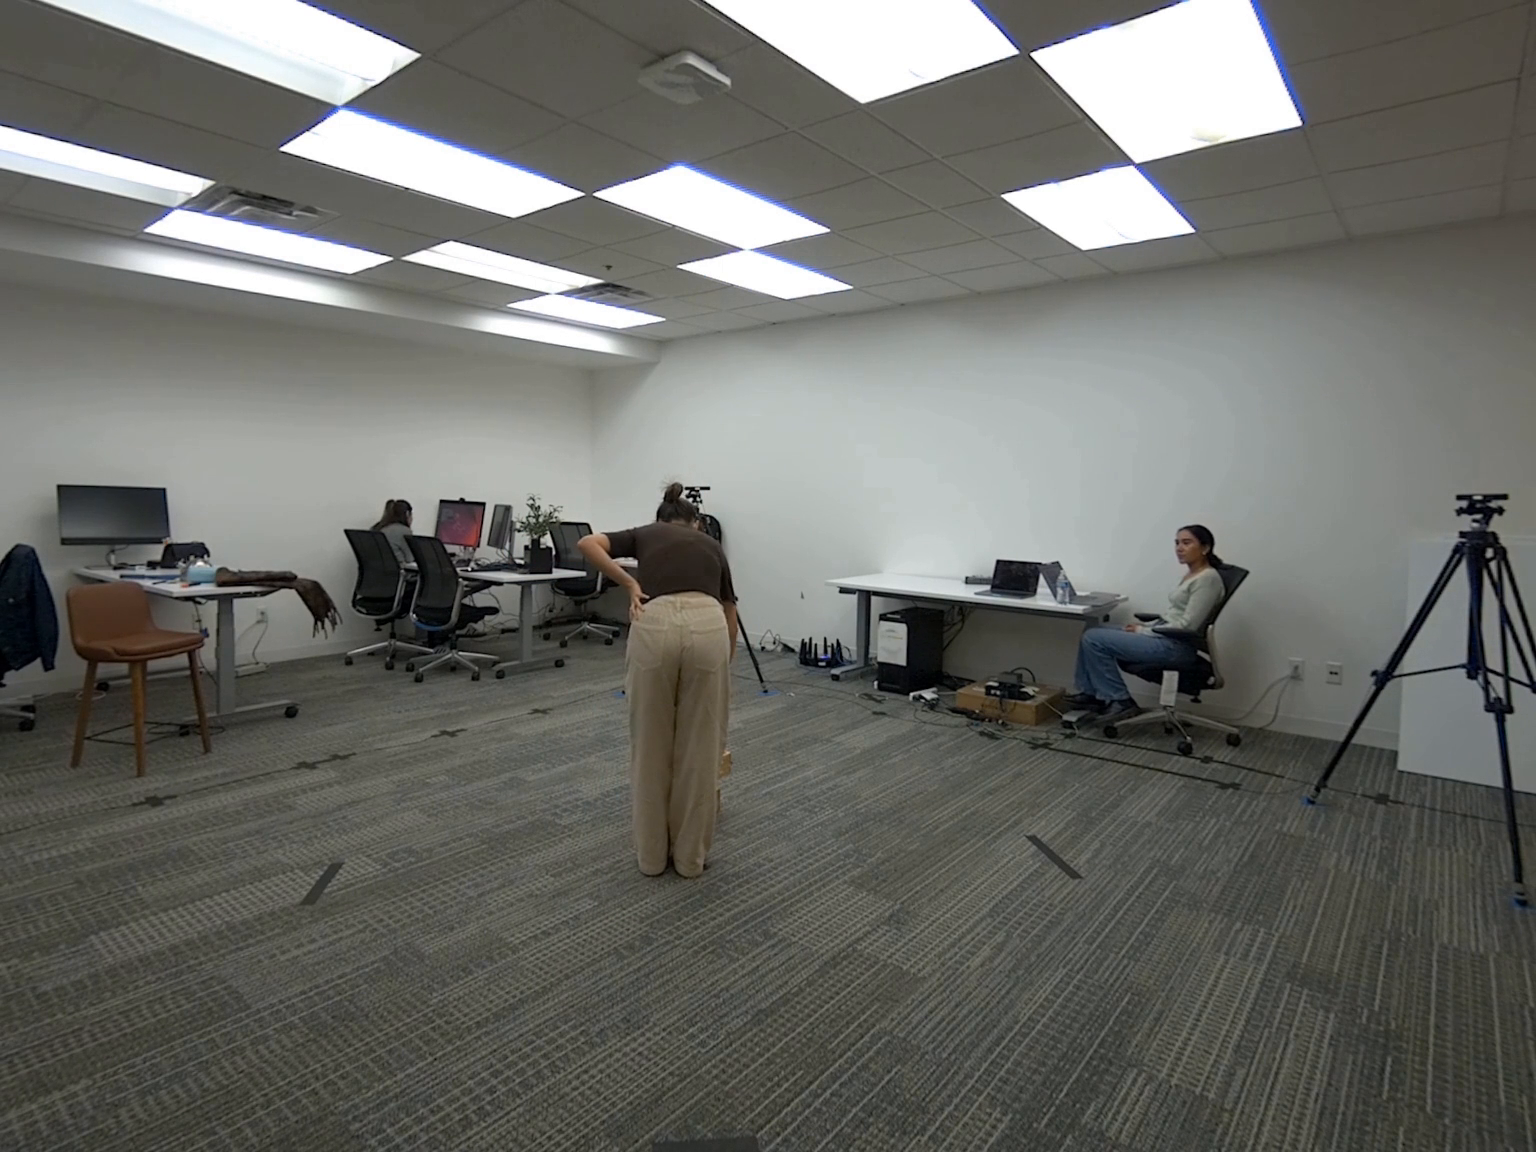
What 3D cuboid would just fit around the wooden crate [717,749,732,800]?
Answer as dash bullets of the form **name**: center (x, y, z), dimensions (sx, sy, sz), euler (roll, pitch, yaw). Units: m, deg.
- **wooden crate**: center (-0.378, 0.874, 3.604), dimensions (0.311, 0.272, 0.316), euler (5, 6, 32)
